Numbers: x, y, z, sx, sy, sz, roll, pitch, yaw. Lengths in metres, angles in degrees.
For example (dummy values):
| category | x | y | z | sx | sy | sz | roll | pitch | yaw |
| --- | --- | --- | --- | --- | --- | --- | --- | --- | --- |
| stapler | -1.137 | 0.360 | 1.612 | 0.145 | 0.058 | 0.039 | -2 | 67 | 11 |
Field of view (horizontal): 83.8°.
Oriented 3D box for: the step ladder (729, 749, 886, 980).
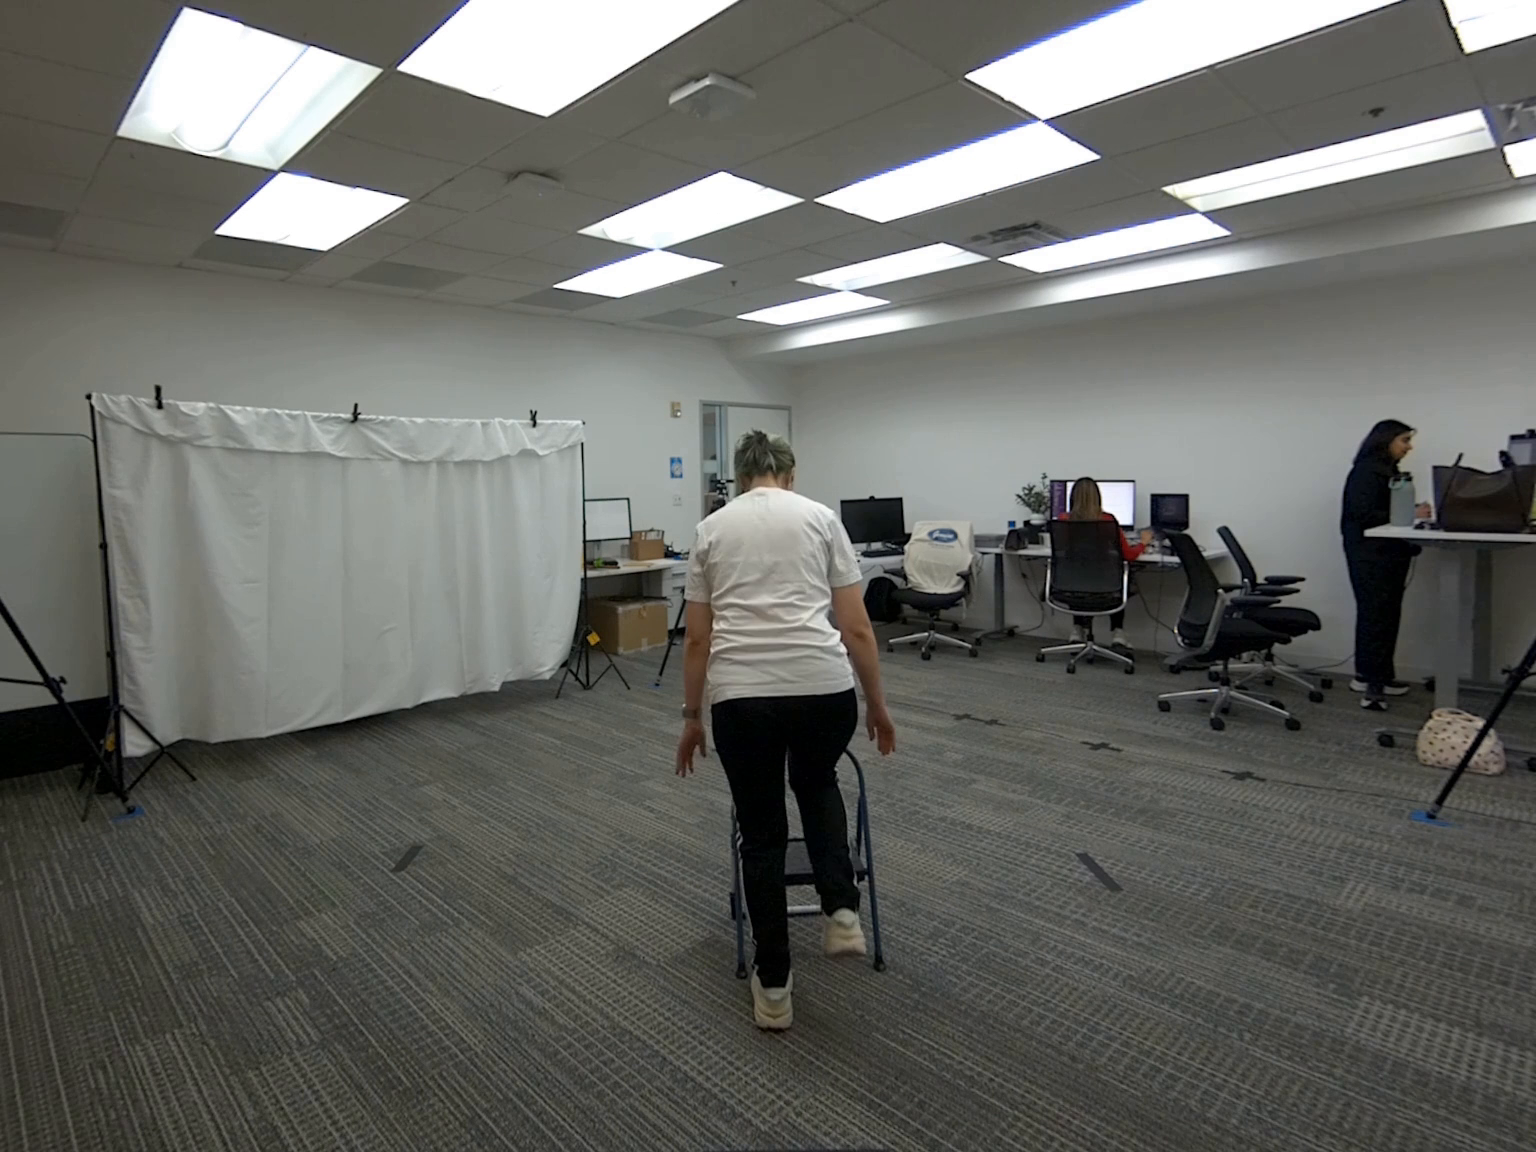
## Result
| category | x | y | z | sx | sy | sz | roll | pitch | yaw |
| --- | --- | --- | --- | --- | --- | --- | --- | --- | --- |
| step ladder | 0.110 | 0.810 | 2.567 | 0.429 | 0.604 | 0.352 | -1 | 4 | -4 |
